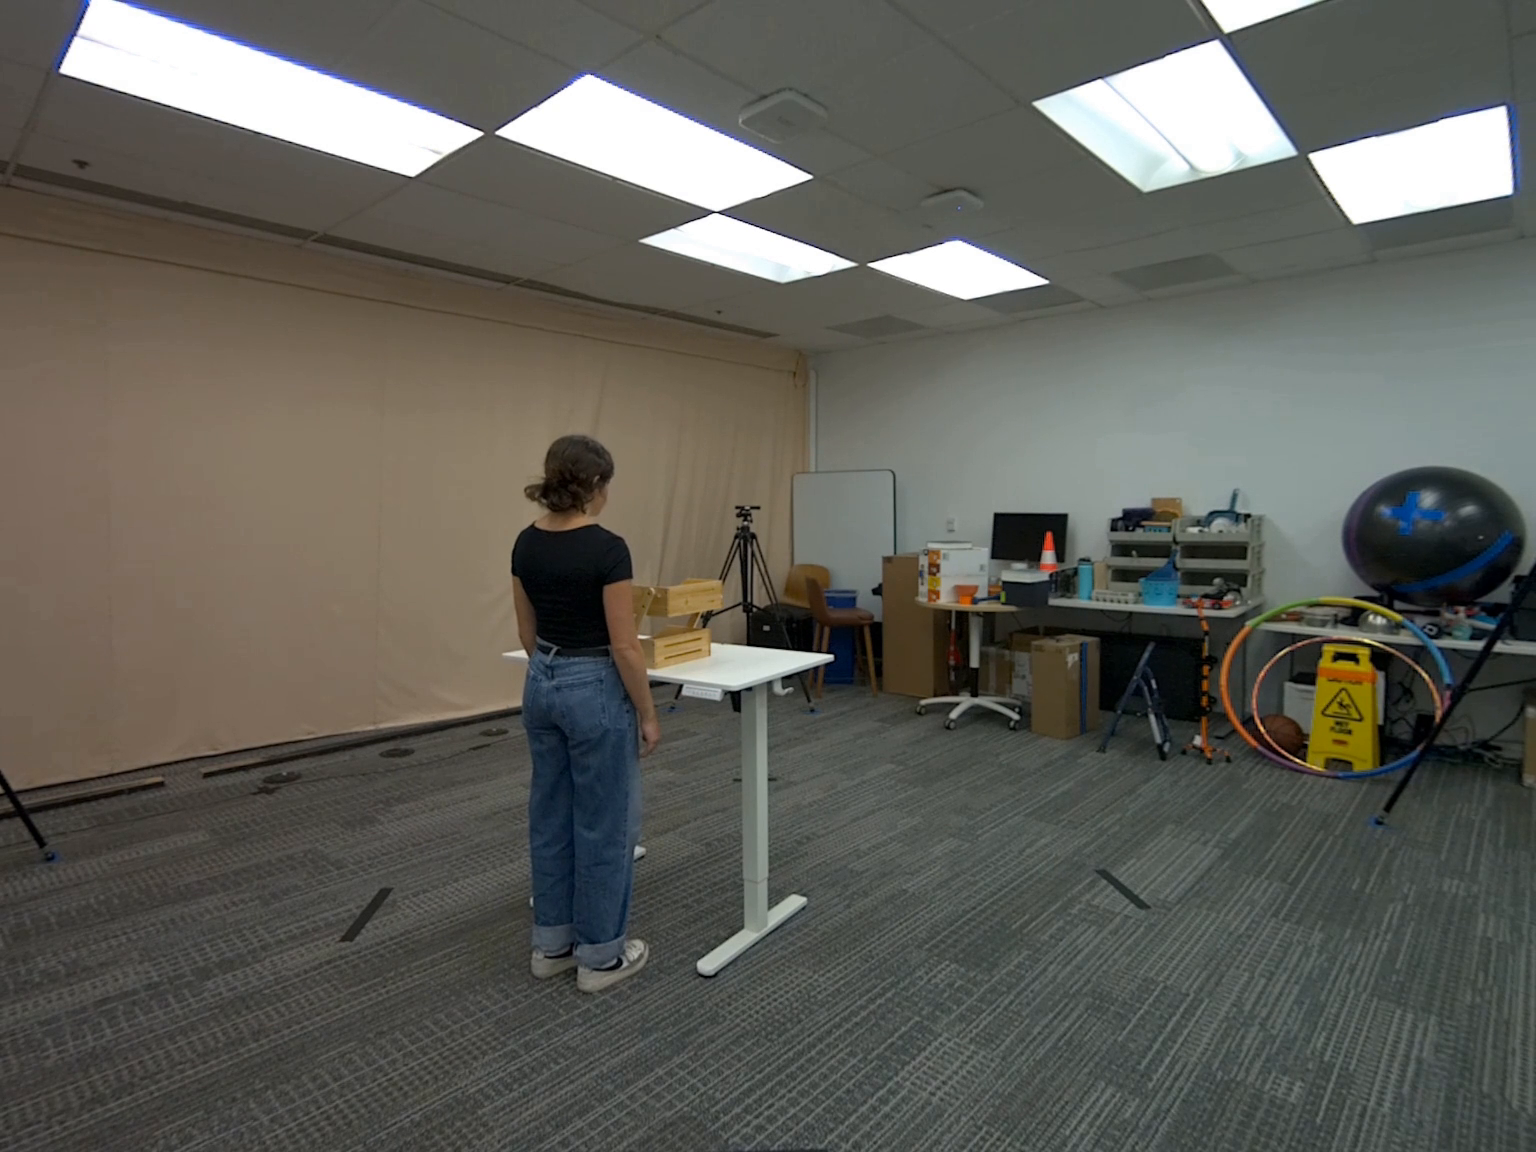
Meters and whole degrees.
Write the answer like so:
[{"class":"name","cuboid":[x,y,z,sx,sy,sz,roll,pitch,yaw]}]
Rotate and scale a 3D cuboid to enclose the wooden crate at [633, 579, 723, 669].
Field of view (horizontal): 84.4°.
[{"class":"wooden crate","cuboid":[-0.362,0.146,2.799,0.311,0.273,0.315,3,4,33]}]
